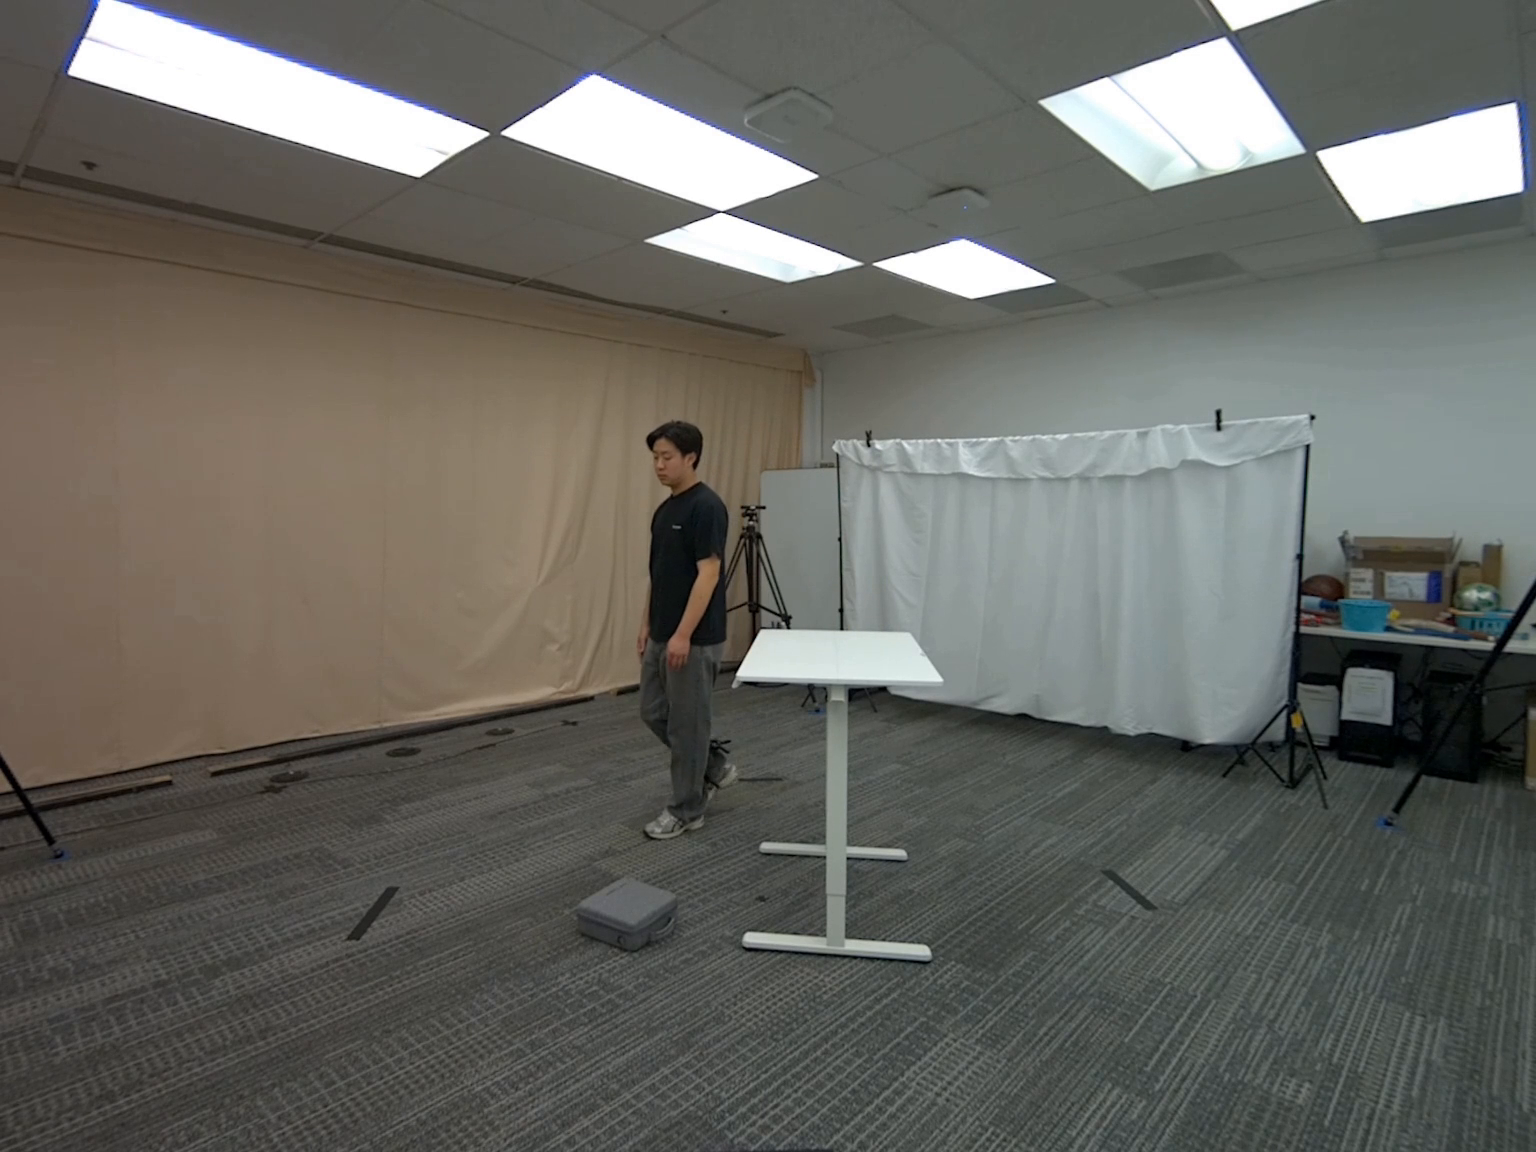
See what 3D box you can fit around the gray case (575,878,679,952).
[{"bbox_3d":[-0.452,1.109,2.772,0.296,0.103,0.256,4,7,32],"label":"gray case"}]
